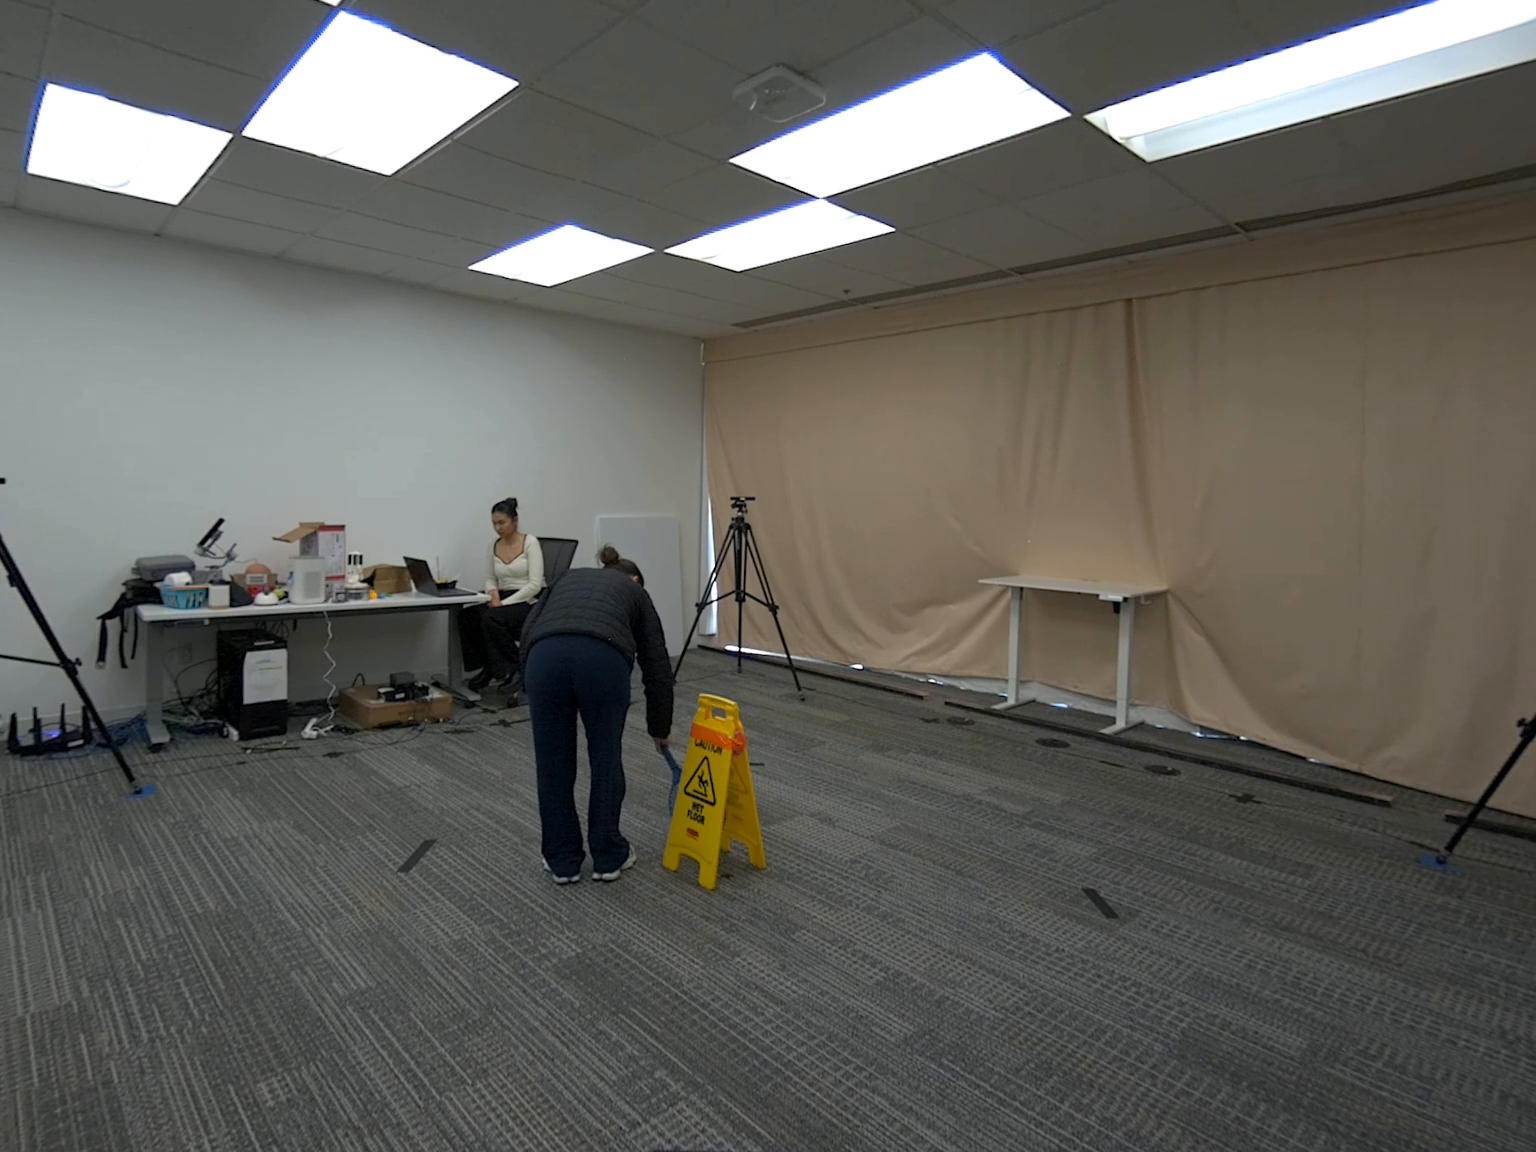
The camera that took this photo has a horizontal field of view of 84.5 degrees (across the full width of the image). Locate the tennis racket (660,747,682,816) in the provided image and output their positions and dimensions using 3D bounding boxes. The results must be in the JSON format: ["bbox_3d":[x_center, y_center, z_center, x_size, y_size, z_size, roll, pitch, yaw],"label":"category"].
[{"bbox_3d":[-0.314,0.841,3.260,0.214,0.445,0.031,-36,-32,2],"label":"tennis racket"}]
